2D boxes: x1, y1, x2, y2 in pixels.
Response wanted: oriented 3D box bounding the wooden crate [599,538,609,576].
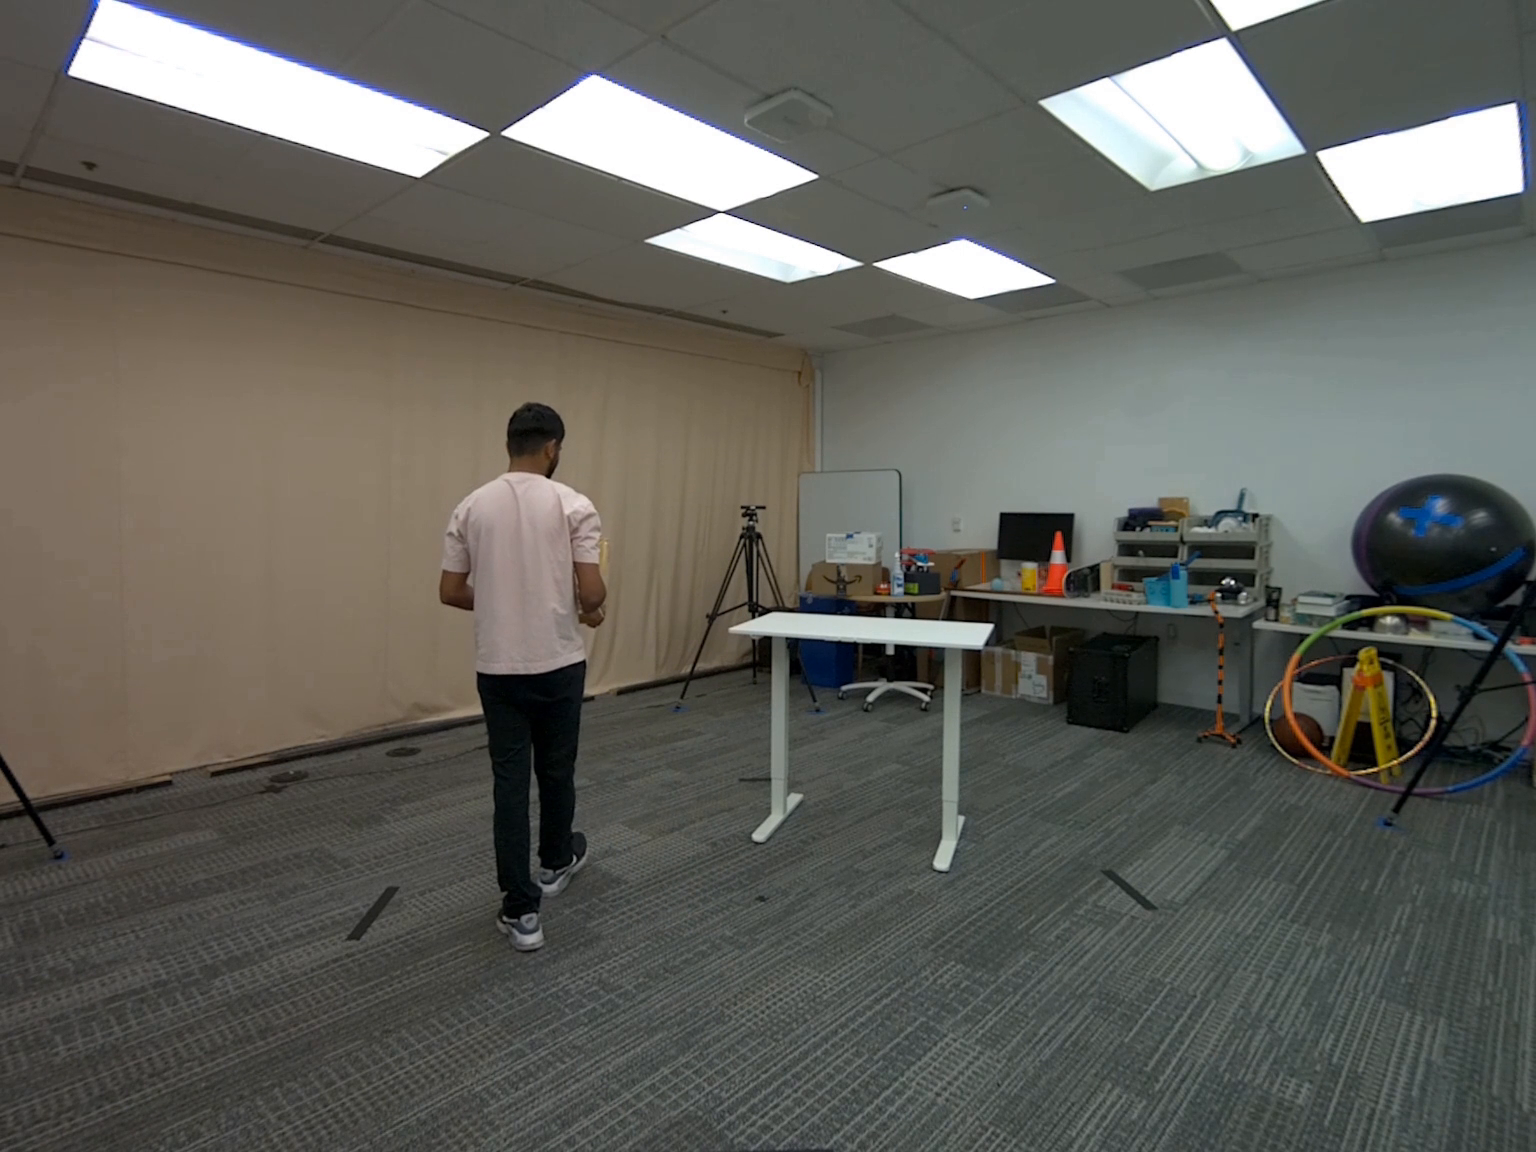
[{"bbox_3d":[-0.786,0.009,3.103,0.325,0.272,0.303,-1,8,2],"label":"wooden crate"}]
